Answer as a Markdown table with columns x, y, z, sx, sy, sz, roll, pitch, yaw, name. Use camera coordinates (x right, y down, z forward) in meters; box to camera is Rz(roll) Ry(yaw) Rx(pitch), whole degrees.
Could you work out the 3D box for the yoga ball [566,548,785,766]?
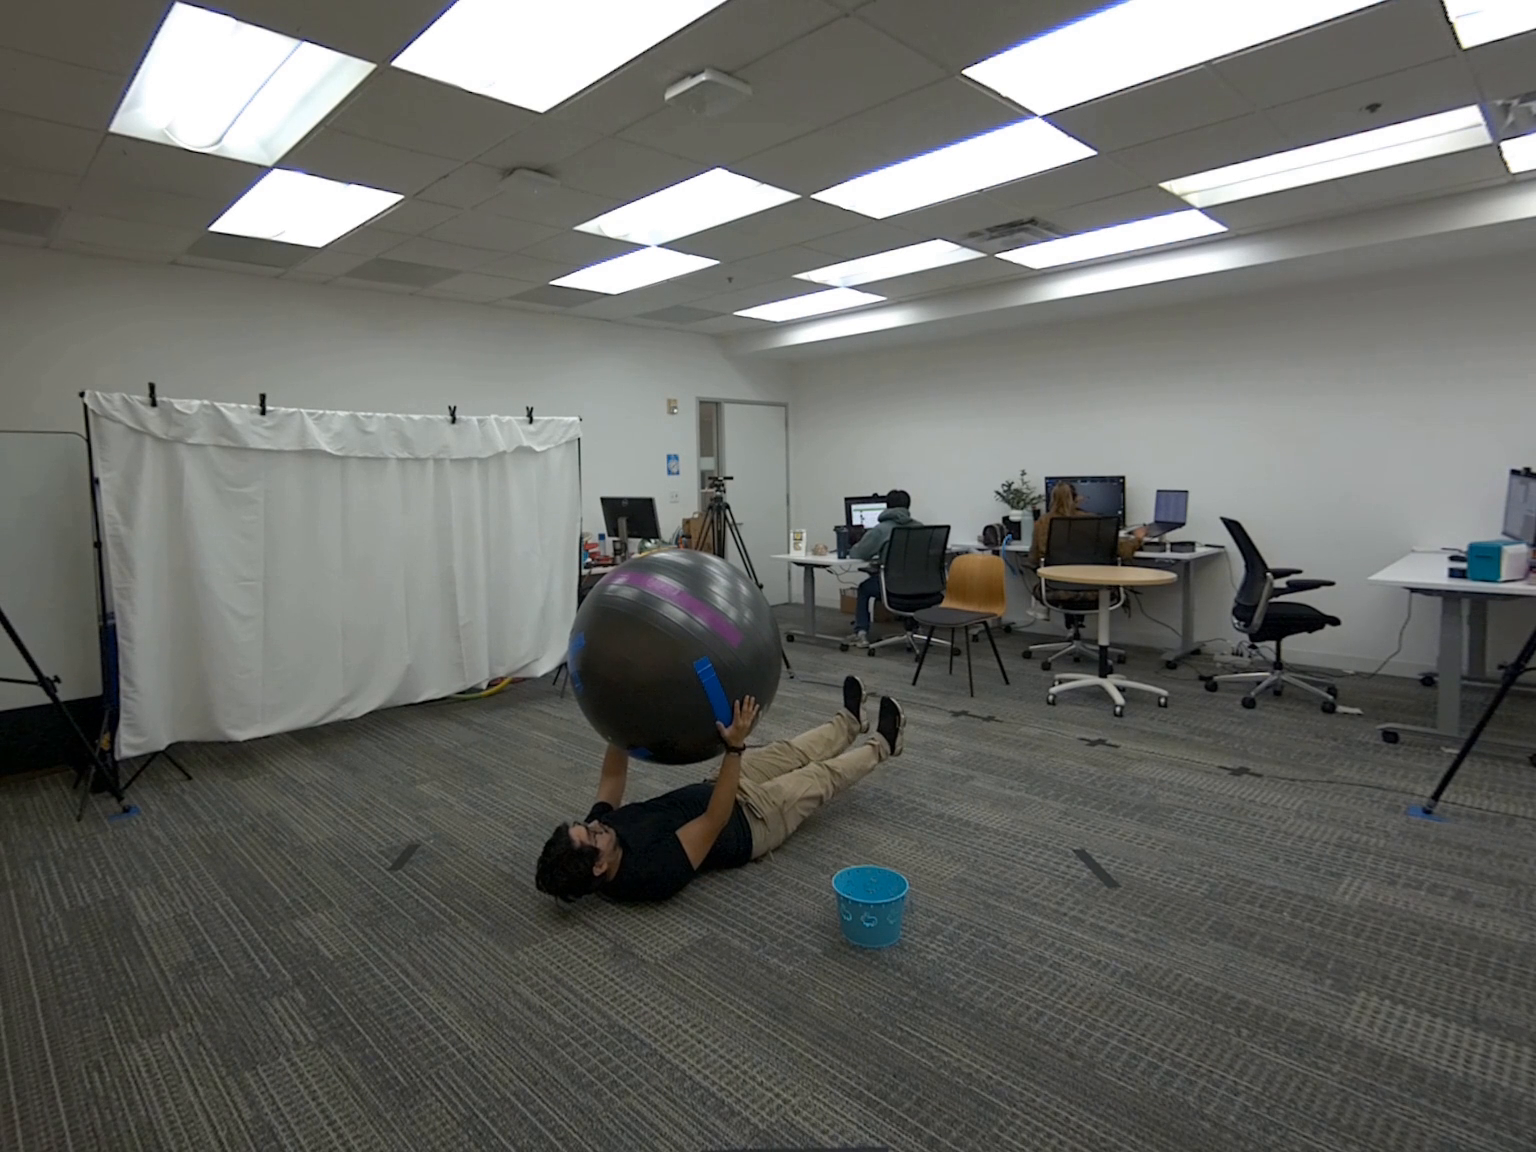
| x | y | z | sx | sy | sz | roll | pitch | yaw | name |
| --- | --- | --- | --- | --- | --- | --- | --- | --- | --- |
| -0.331 | 0.288 | 3.040 | 0.757 | 0.755 | 0.761 | -1 | 4 | -2 | yoga ball |
